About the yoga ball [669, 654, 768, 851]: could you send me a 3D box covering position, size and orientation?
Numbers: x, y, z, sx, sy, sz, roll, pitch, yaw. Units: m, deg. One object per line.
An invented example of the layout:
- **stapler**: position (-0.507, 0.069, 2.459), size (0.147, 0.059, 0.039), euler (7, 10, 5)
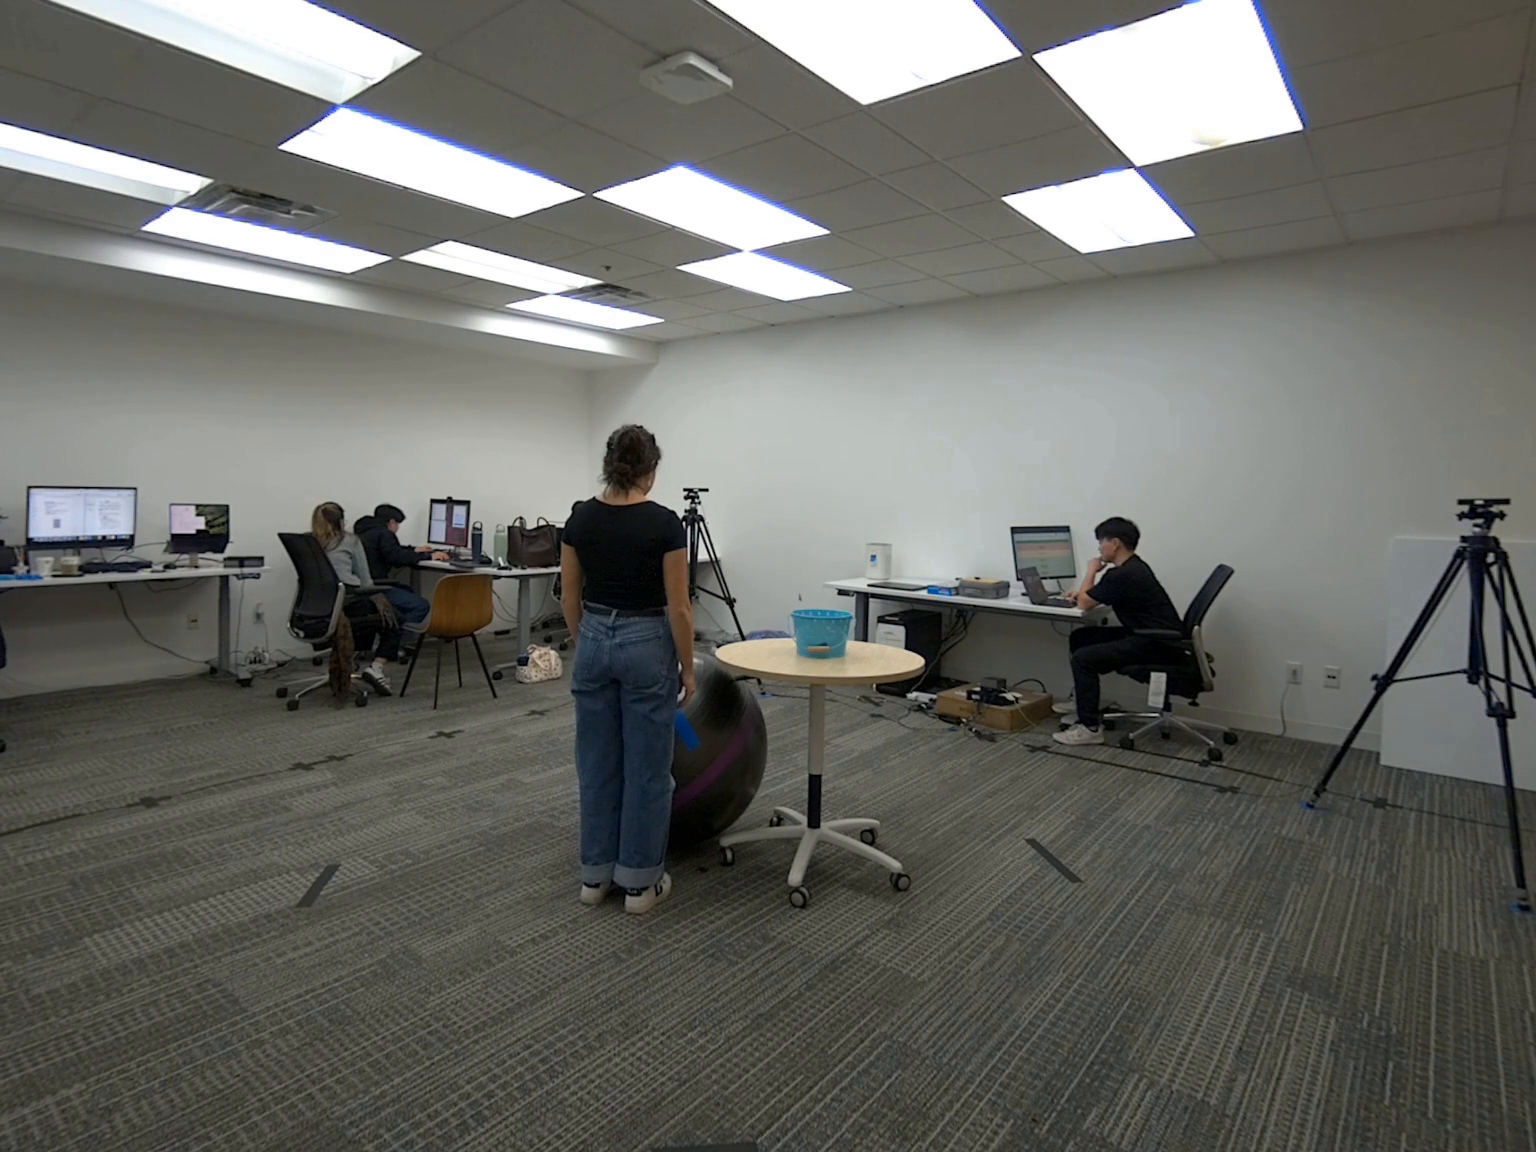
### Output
- **yoga ball**: position (-0.398, 0.678, 3.367), size (0.757, 0.755, 0.762), euler (1, 4, -2)
